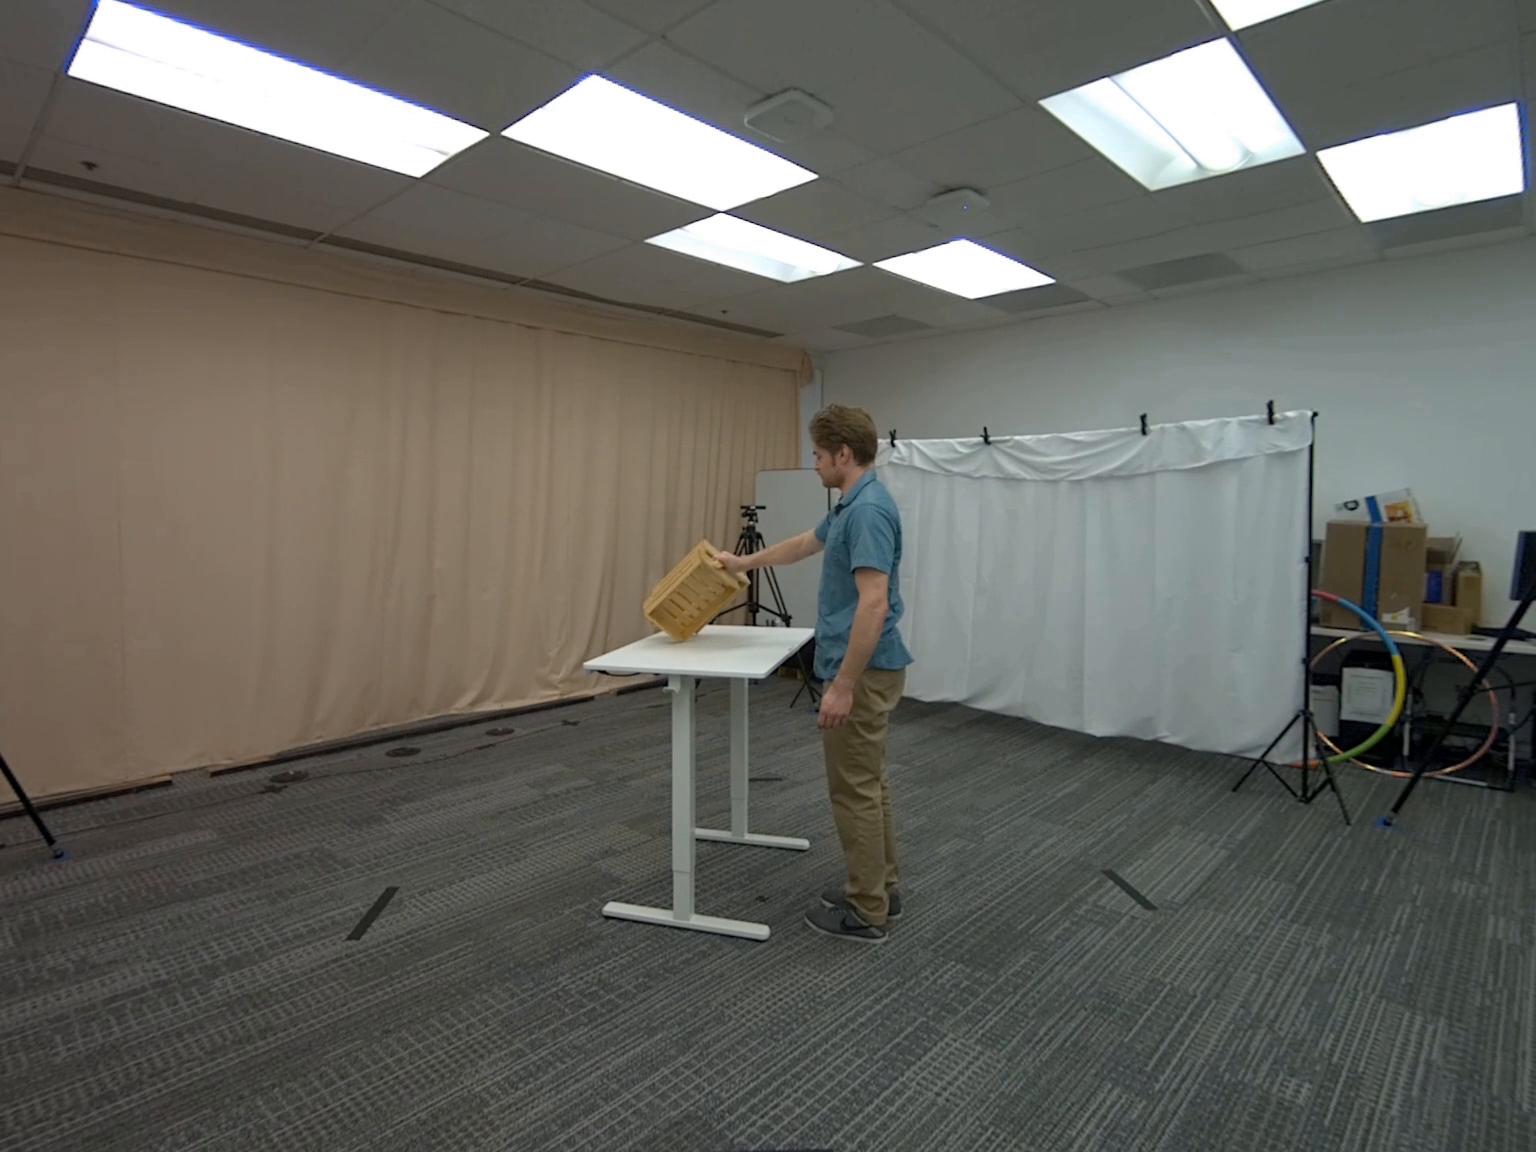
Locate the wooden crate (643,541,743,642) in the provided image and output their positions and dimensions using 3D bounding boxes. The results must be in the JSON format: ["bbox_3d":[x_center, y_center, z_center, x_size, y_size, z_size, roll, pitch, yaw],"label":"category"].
[{"bbox_3d":[-0.258,0.079,3.173,0.295,0.325,0.279,41,12,-22],"label":"wooden crate"}]
